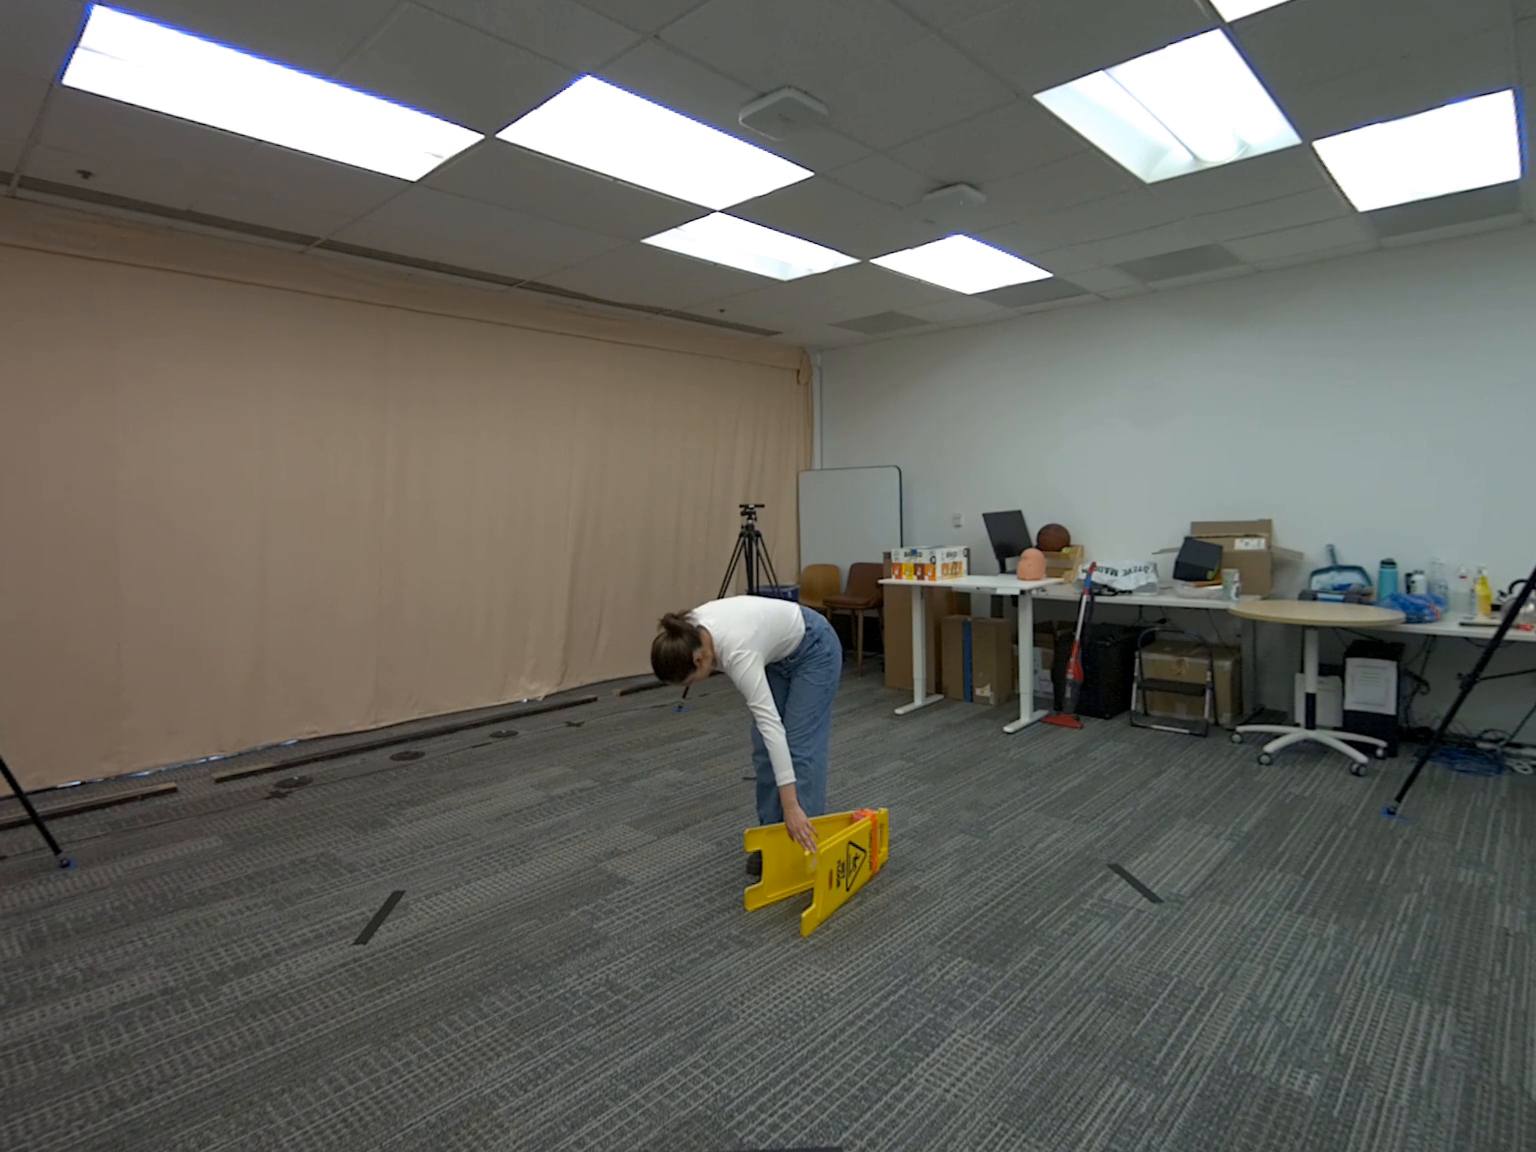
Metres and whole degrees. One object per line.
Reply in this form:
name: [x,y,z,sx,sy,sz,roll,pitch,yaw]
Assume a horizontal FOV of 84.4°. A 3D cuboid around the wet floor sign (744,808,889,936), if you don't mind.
wet floor sign: [0.238,1.002,3.013,0.299,0.281,0.626,5,6,44]
